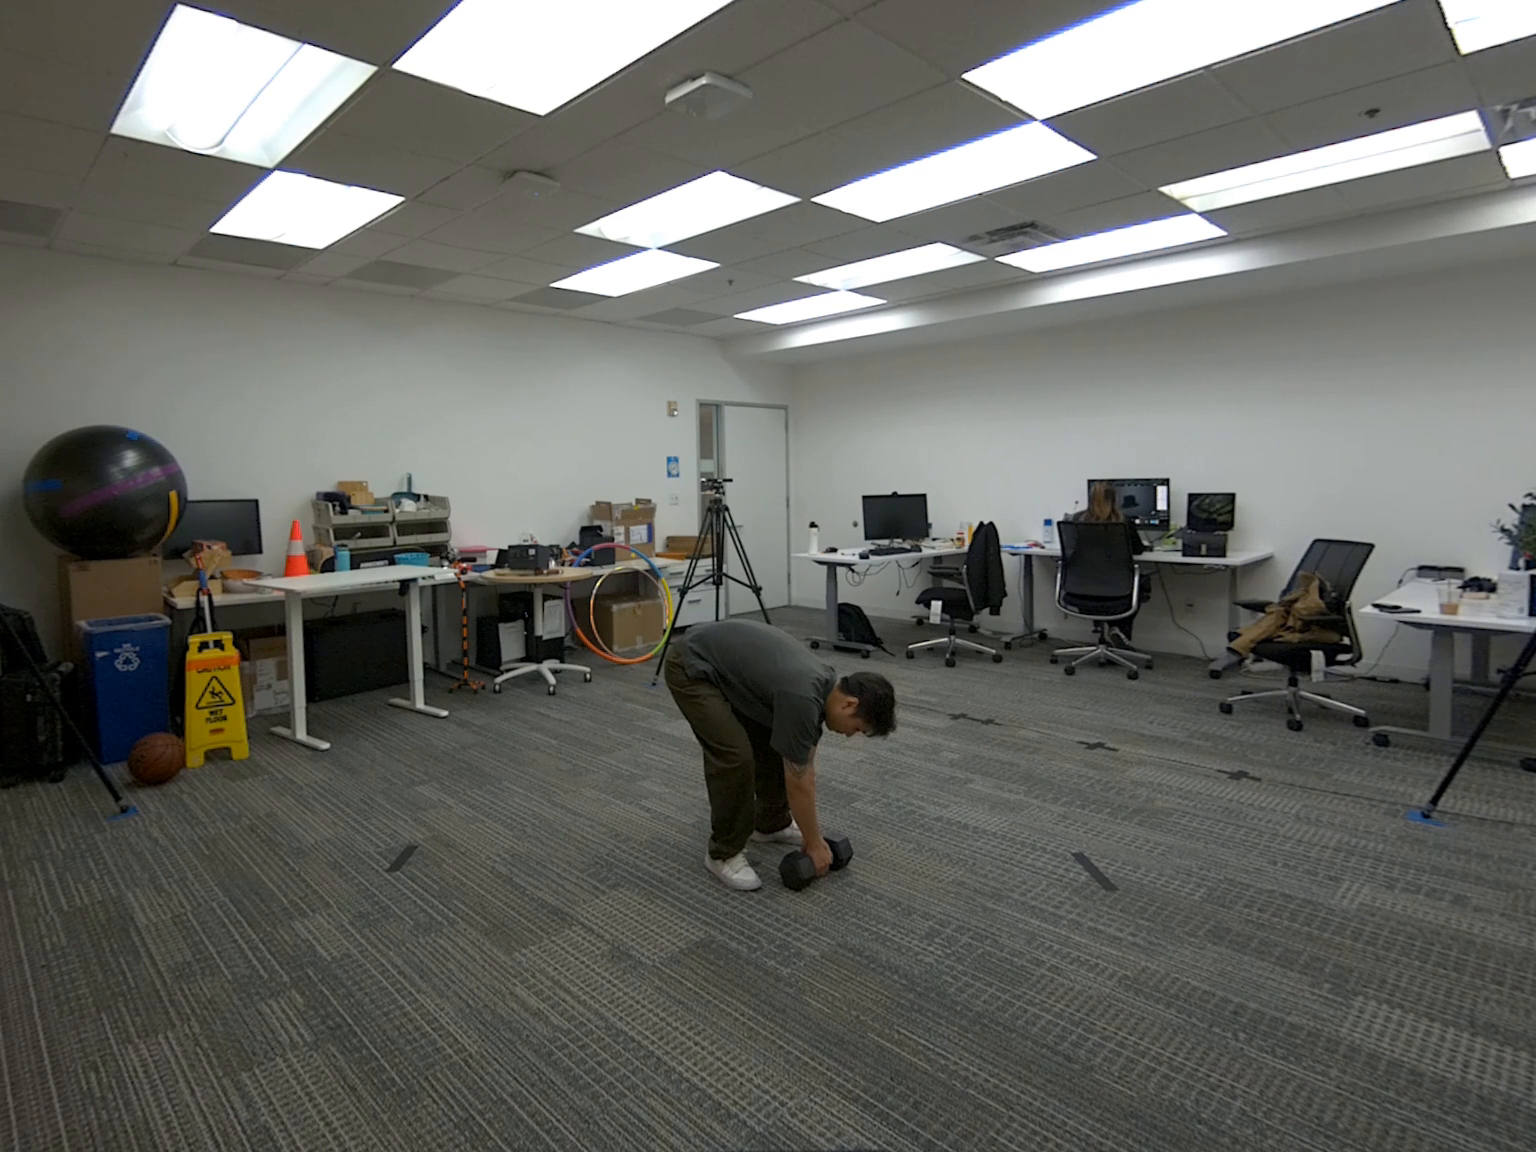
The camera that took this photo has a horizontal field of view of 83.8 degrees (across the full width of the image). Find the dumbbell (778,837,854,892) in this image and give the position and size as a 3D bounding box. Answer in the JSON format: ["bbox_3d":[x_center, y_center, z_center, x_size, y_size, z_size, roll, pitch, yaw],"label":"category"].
[{"bbox_3d":[0.174,0.998,2.998,0.286,0.121,0.113,-7,39,-45],"label":"dumbbell"}]
